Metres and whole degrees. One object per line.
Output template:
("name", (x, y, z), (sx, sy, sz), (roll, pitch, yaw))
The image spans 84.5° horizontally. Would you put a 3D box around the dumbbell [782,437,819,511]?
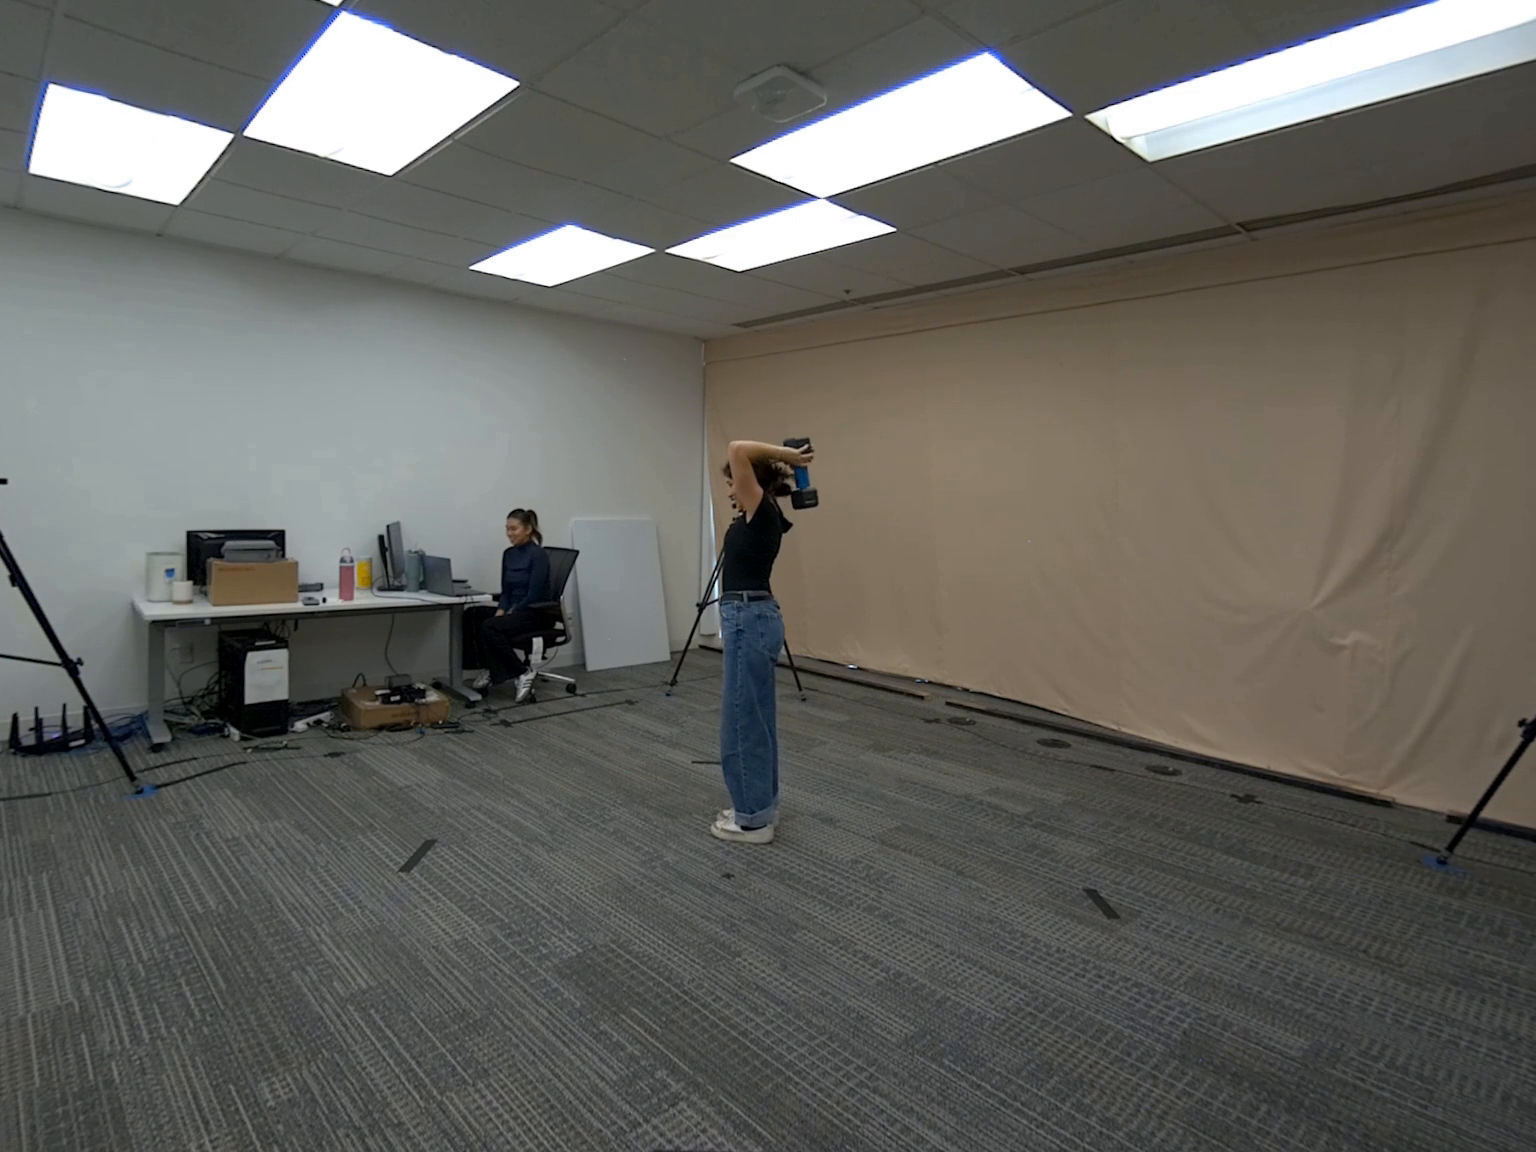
("dumbbell", (0.124, -0.427, 3.453), (0.125, 0.293, 0.106), (-8, 1, 41))
